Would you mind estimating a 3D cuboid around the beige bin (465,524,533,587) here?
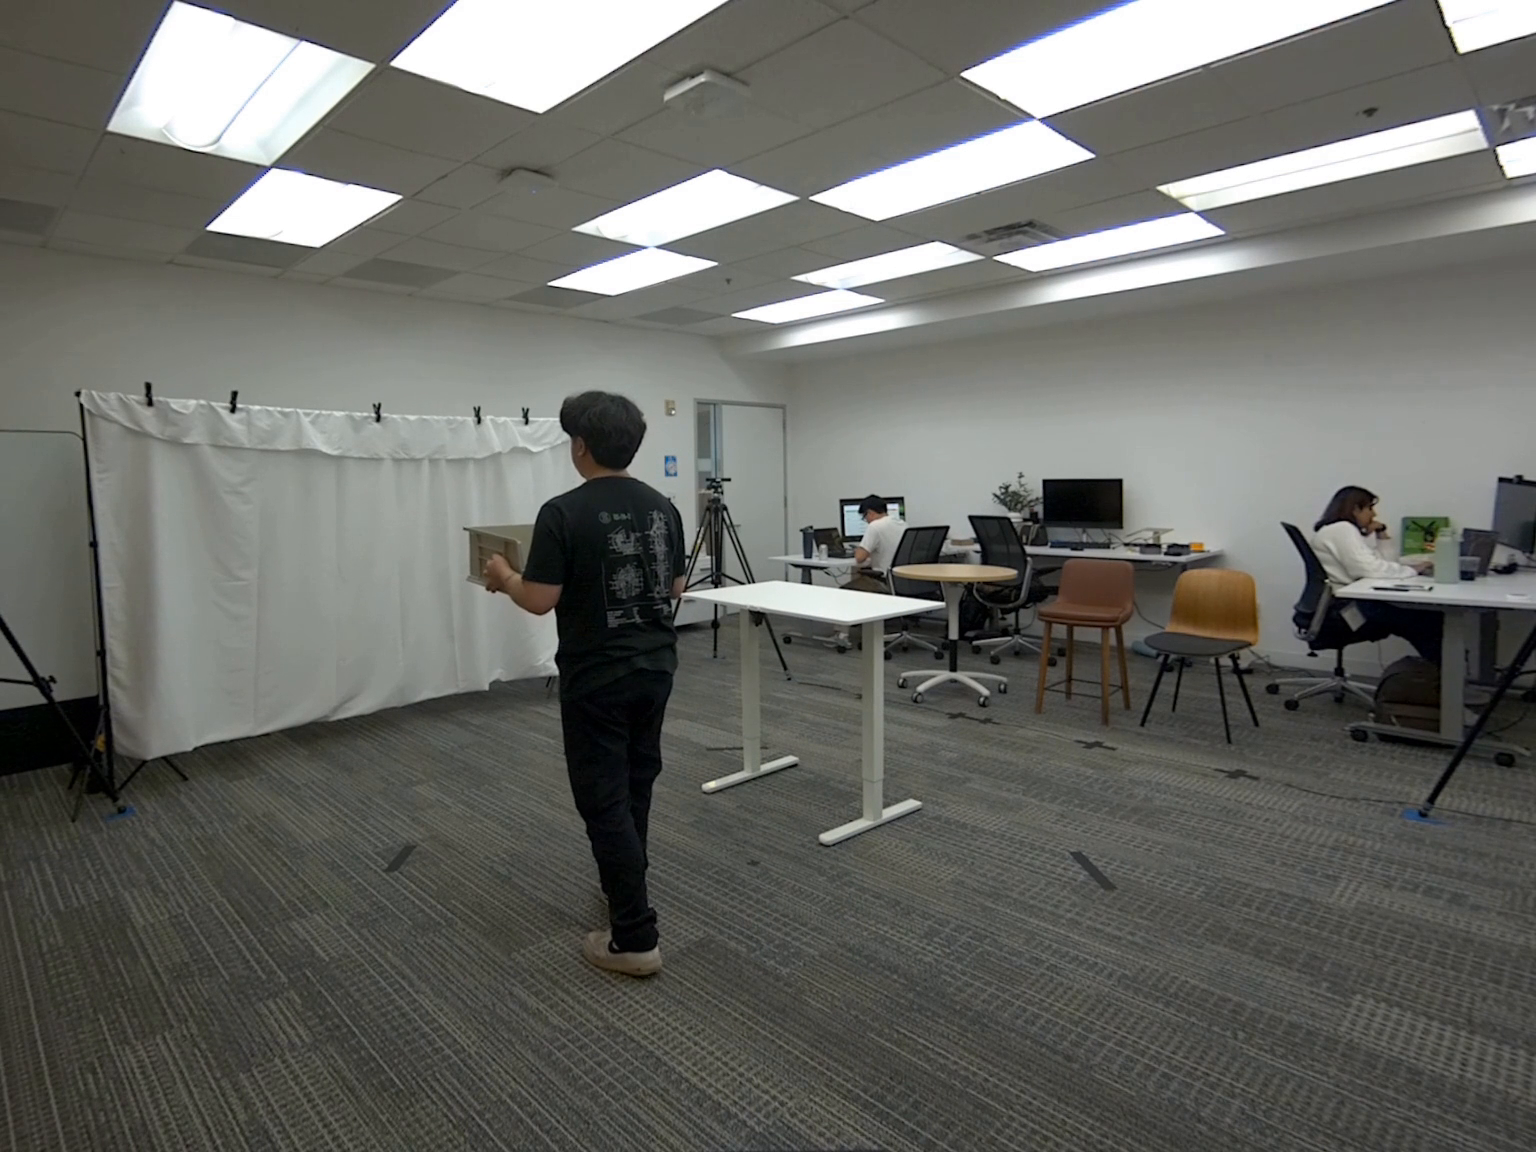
[{"bbox_3d":[-0.723,-0.064,2.847,0.411,0.188,0.390,-7,12,-44],"label":"beige bin"}]
